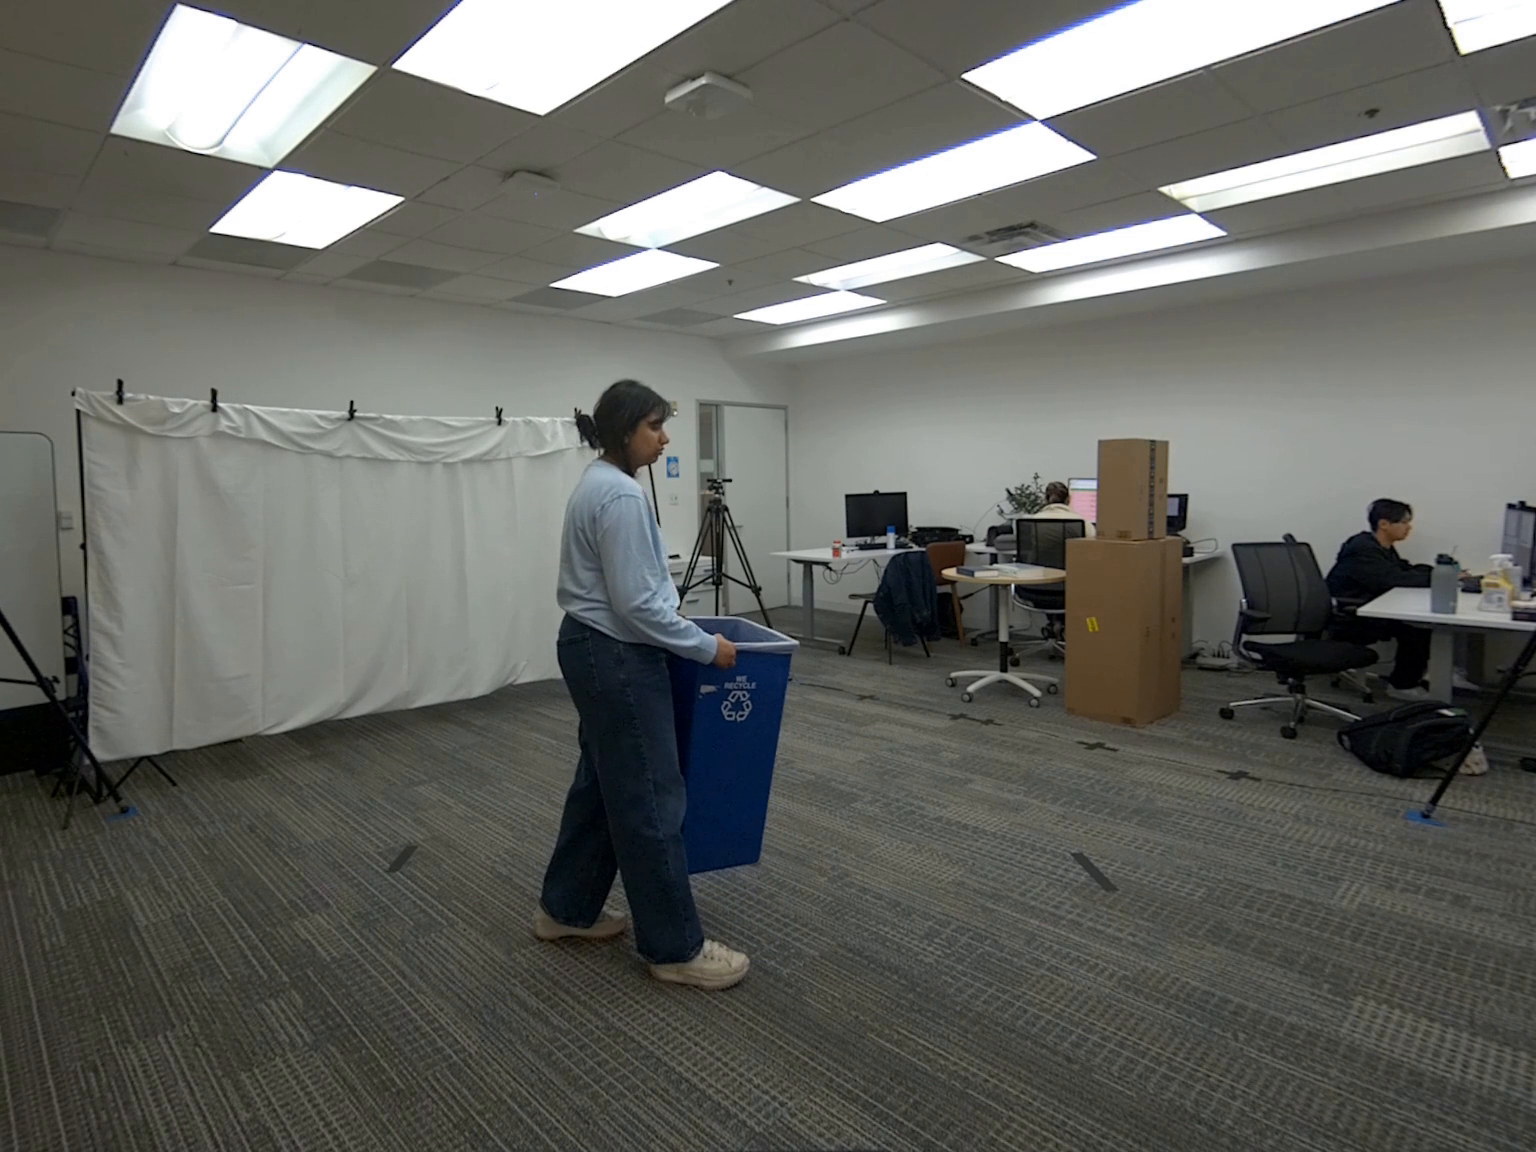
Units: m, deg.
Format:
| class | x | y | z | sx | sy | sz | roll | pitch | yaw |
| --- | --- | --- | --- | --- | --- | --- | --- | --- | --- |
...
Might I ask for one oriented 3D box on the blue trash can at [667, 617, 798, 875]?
| class | x | y | z | sx | sy | sz | roll | pitch | yaw |
| --- | --- | --- | --- | --- | --- | --- | --- | --- | --- |
| blue trash can | -0.171 | 0.519 | 2.696 | 0.364 | 0.710 | 0.390 | 3 | 7 | -32 |
